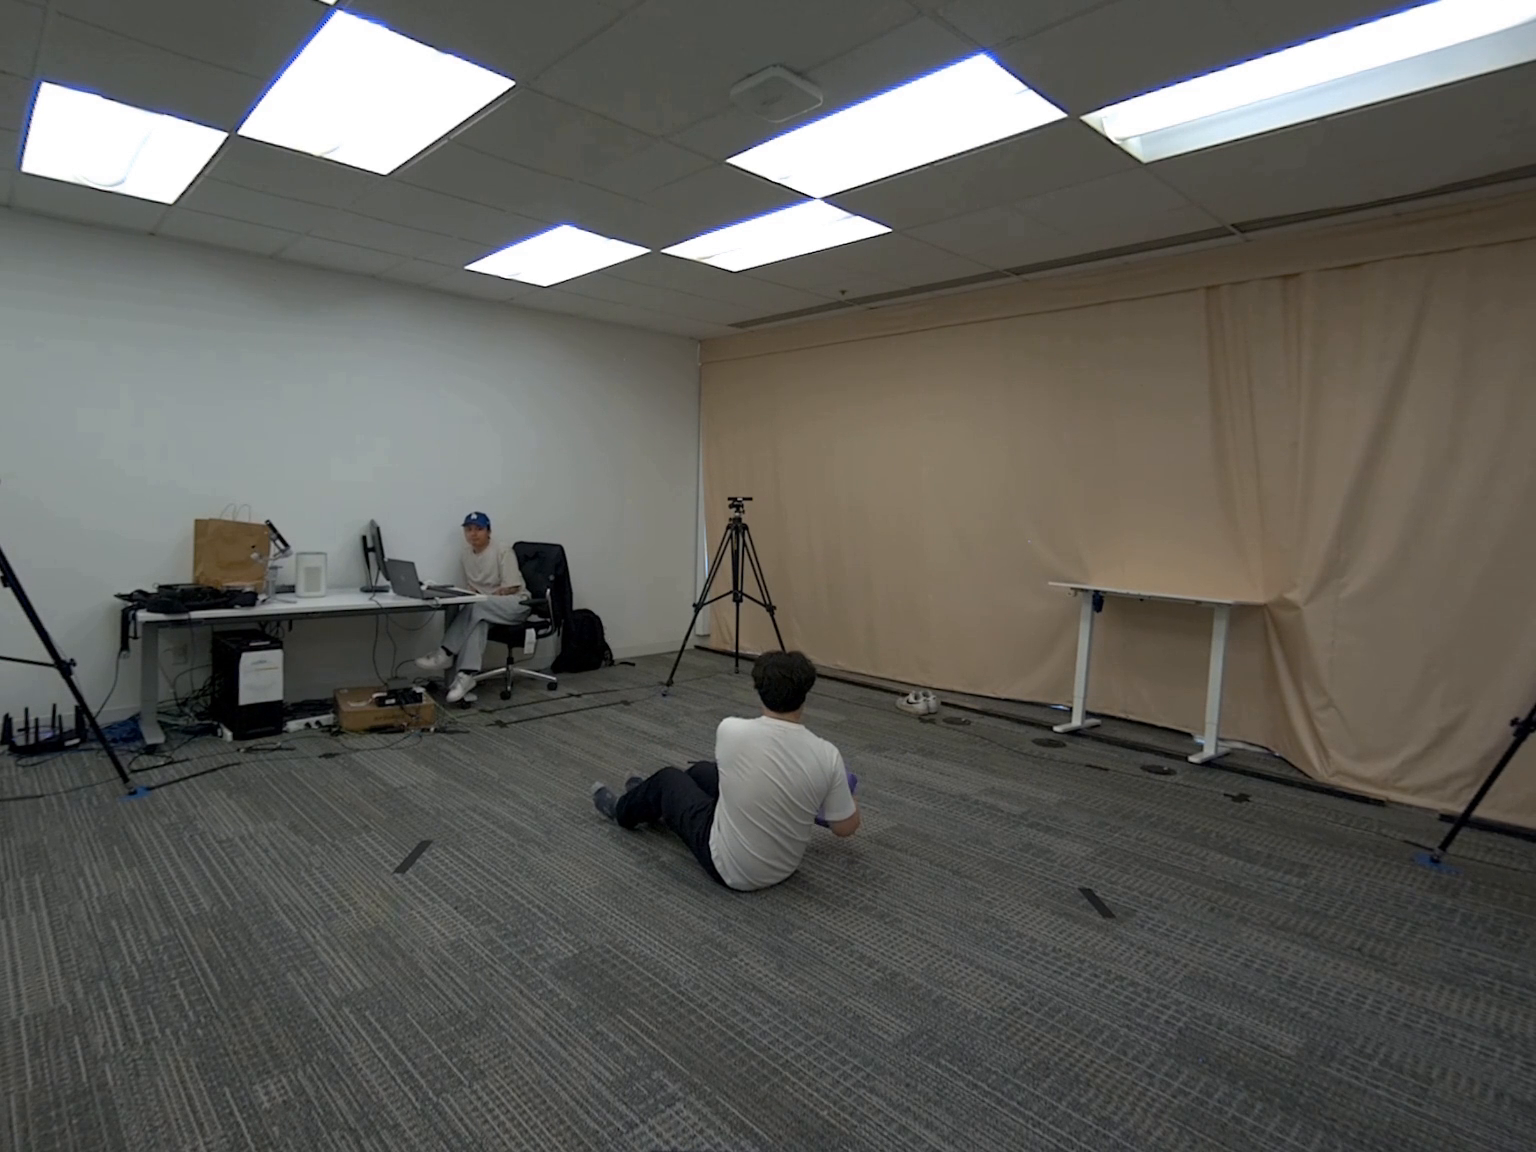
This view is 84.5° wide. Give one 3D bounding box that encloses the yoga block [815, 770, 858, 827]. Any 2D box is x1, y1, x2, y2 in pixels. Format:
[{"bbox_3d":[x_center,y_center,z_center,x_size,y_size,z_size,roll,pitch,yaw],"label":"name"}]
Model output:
[{"bbox_3d":[0.253,0.906,3.406,0.152,0.231,0.074,8,-33,31],"label":"yoga block"}]
